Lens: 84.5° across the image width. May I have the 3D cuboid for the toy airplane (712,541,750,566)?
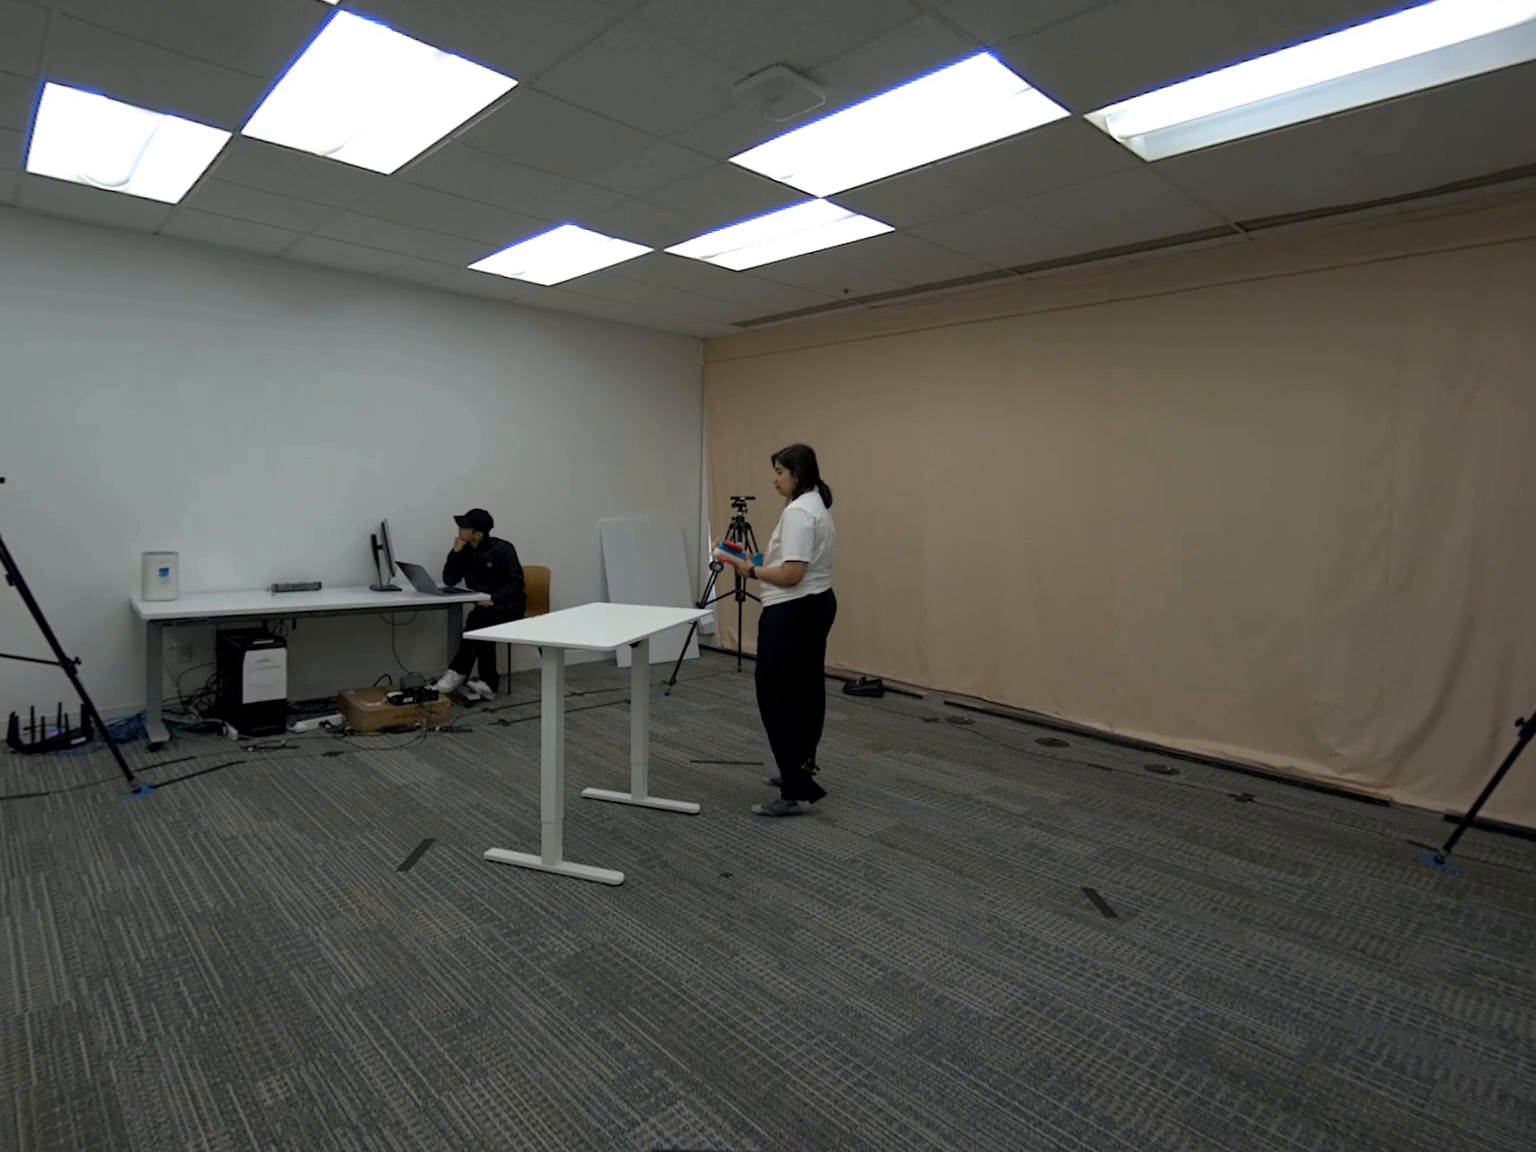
[{"bbox_3d":[-0.162,-0.082,4.017,0.252,0.157,0.257,11,-2,-36],"label":"toy airplane"}]
